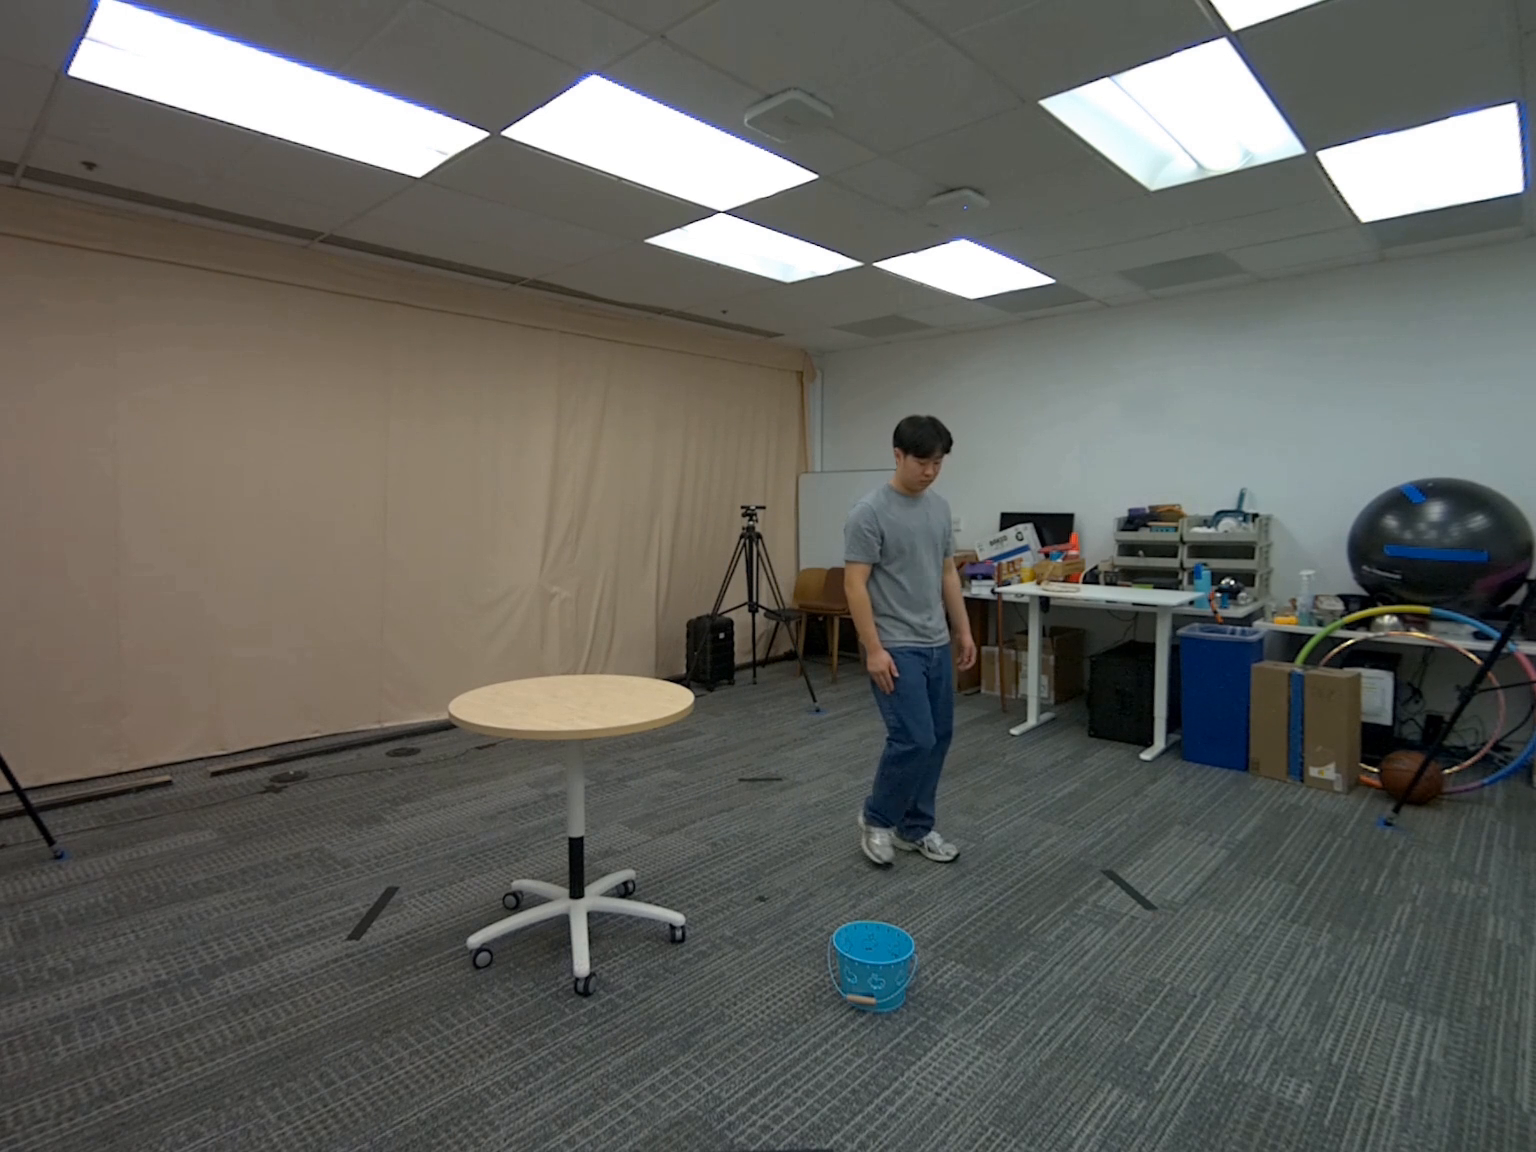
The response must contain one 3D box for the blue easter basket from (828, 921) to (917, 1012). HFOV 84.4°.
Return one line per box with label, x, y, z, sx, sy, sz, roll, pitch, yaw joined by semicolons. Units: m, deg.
blue easter basket;0.300;1.116;2.394;0.243;0.155;0.244;1;4;-2
